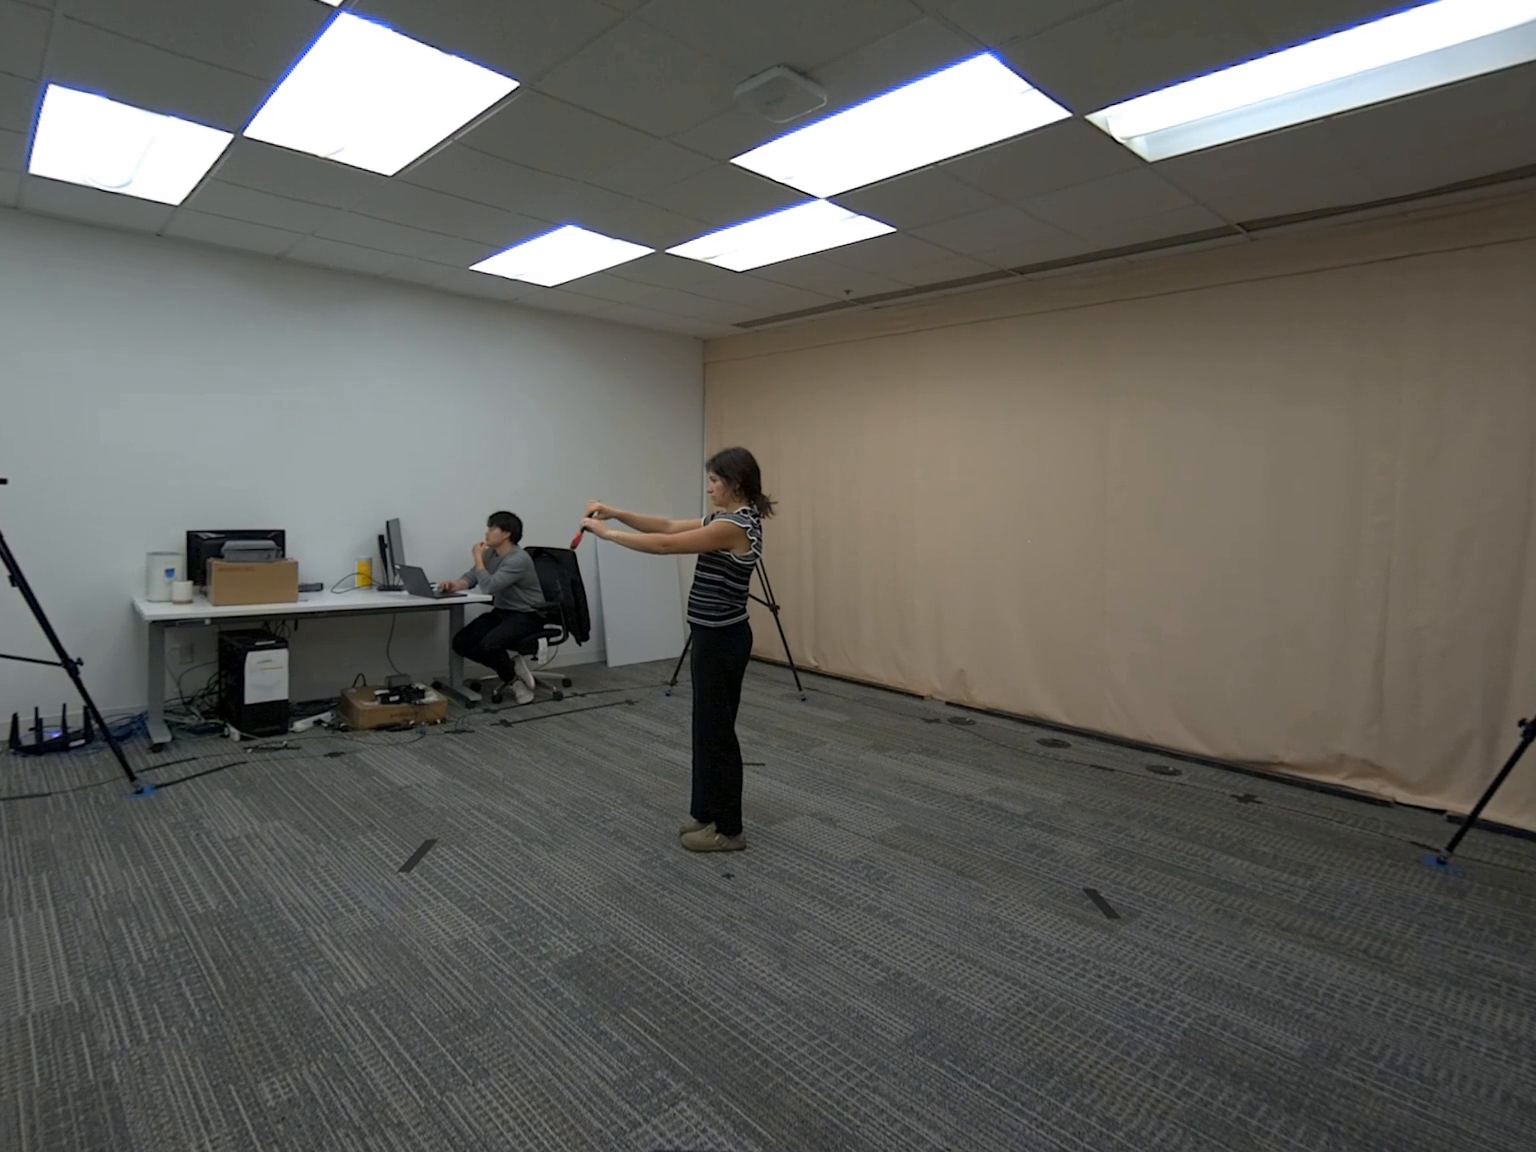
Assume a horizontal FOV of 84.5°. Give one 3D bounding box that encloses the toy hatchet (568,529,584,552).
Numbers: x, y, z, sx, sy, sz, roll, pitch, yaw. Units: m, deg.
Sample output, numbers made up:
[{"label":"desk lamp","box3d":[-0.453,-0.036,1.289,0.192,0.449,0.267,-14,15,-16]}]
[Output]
[{"label":"toy hatchet","box3d":[-0.746,-0.188,3.342,0.029,0.130,0.275,25,30,-13]}]
